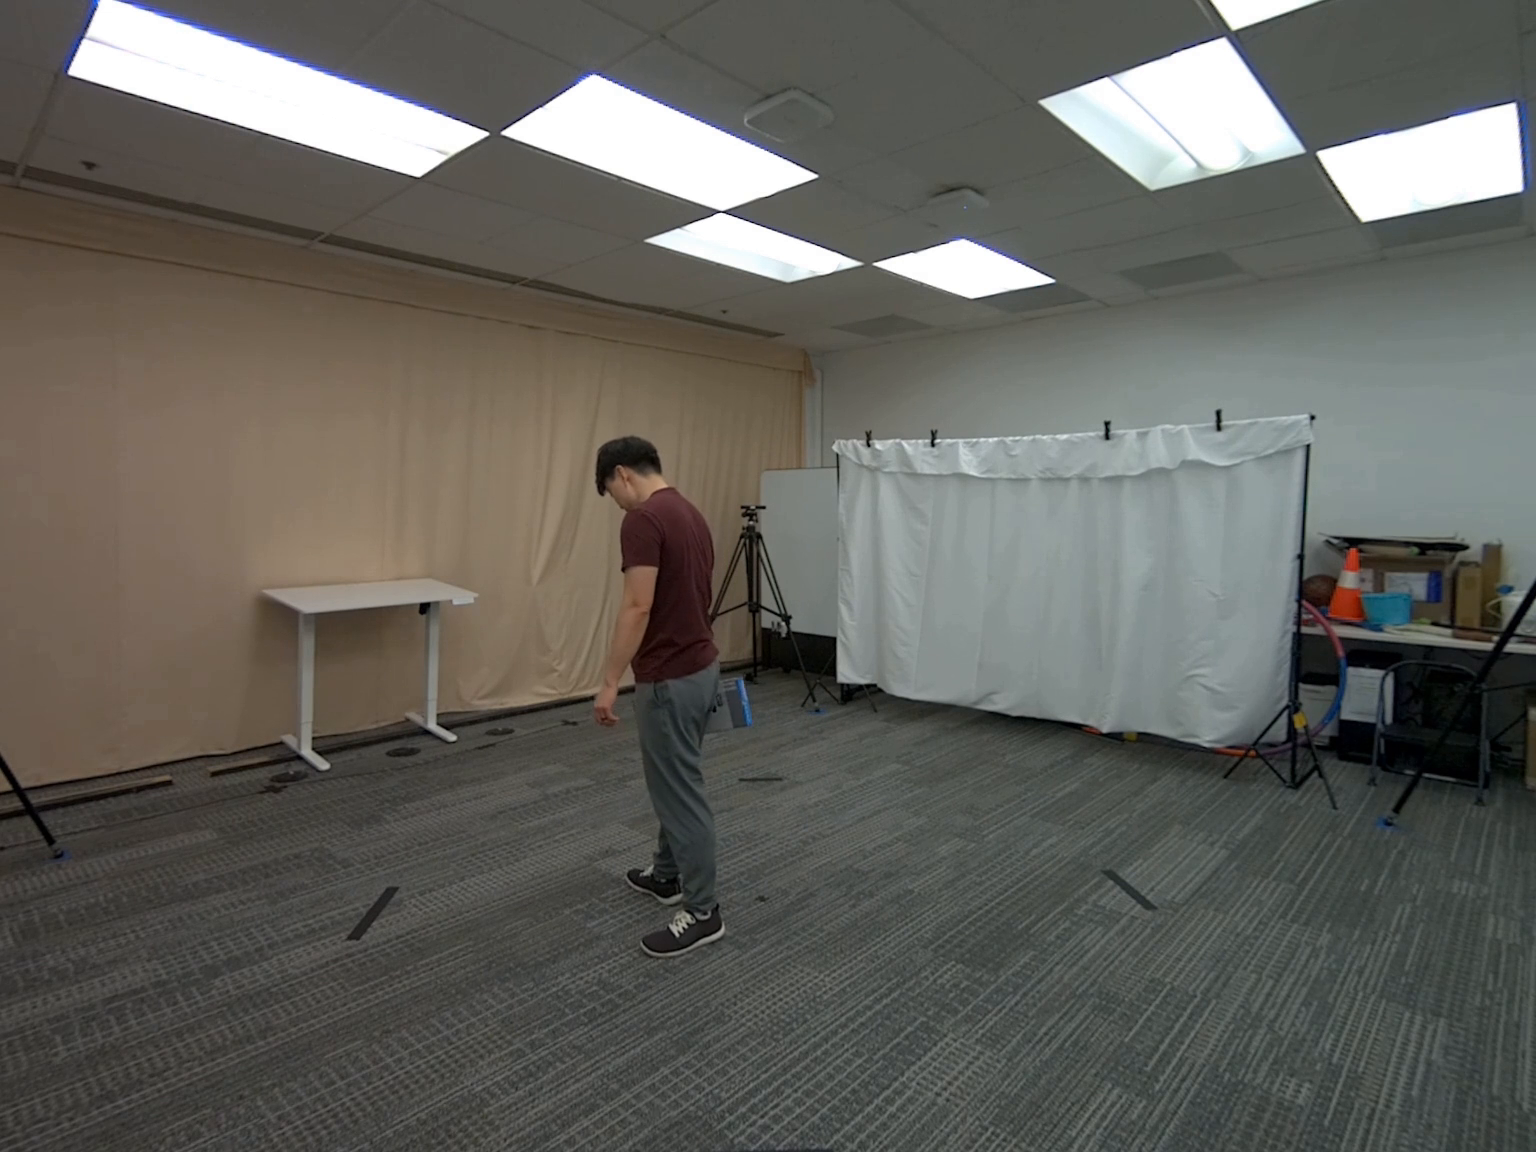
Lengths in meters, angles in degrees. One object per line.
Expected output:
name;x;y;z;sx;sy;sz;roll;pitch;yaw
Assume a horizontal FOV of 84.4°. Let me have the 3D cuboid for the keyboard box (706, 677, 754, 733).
keyboard box;-0.286;0.495;3.088;0.444;0.176;0.058;-14;-4;19
